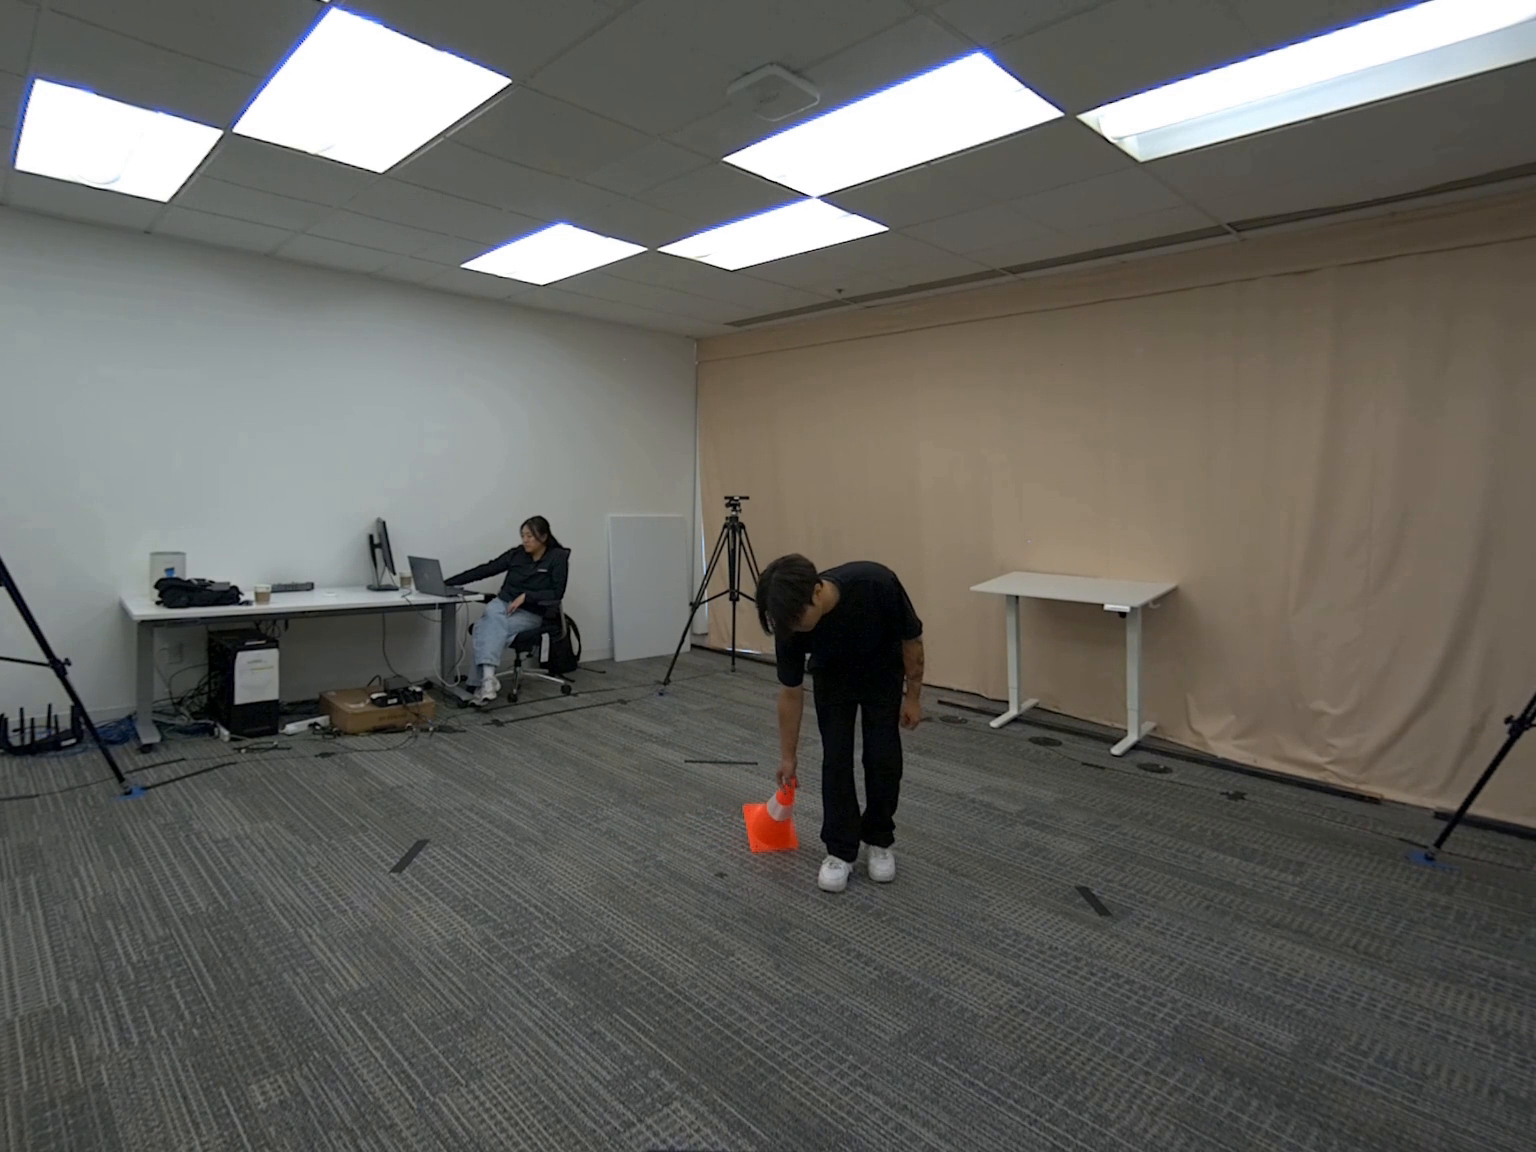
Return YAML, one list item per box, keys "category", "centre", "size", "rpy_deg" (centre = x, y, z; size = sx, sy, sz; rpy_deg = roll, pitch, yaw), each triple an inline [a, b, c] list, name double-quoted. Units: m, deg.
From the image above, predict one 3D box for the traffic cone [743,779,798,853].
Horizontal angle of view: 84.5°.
- category: "traffic cone"
  centre: [0.044, 0.893, 3.272]
  size: [0.201, 0.210, 0.378]
  rpy_deg: [1, -42, -16]
